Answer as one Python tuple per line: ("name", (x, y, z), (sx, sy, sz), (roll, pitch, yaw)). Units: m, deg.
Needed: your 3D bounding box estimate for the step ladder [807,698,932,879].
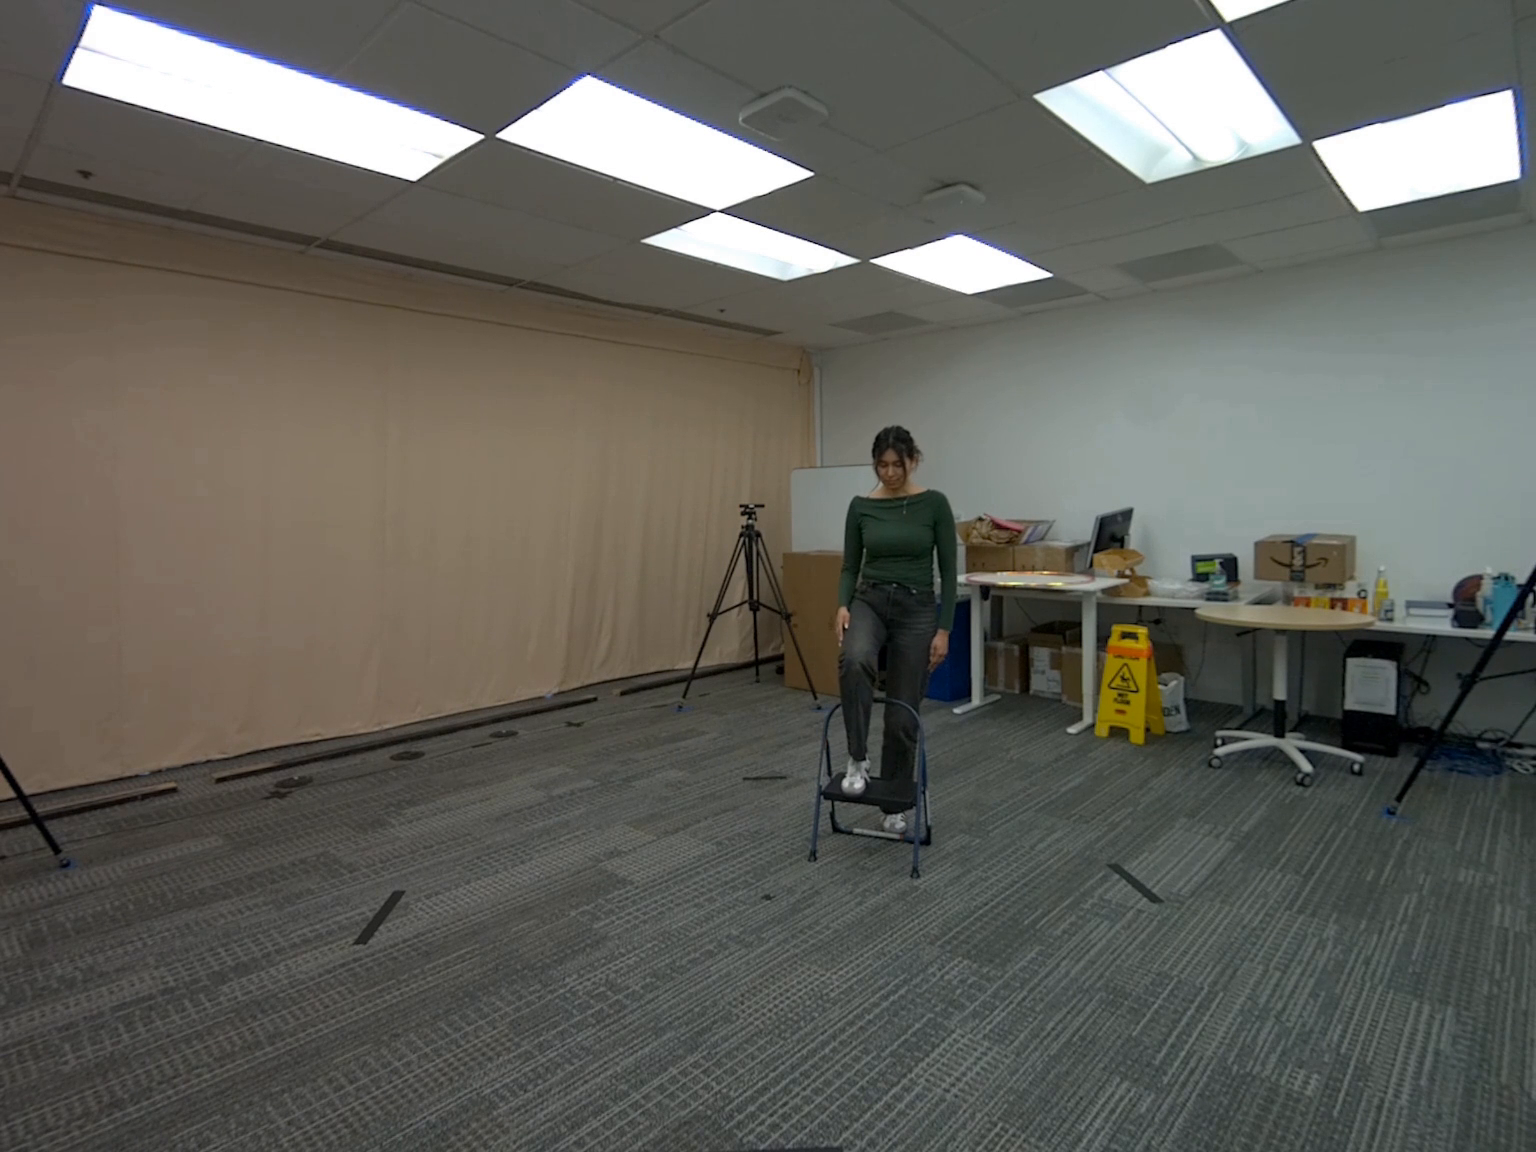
("step ladder", (0.415, 0.799, 3.338), (0.440, 0.605, 0.342), (0, 3, 22))
